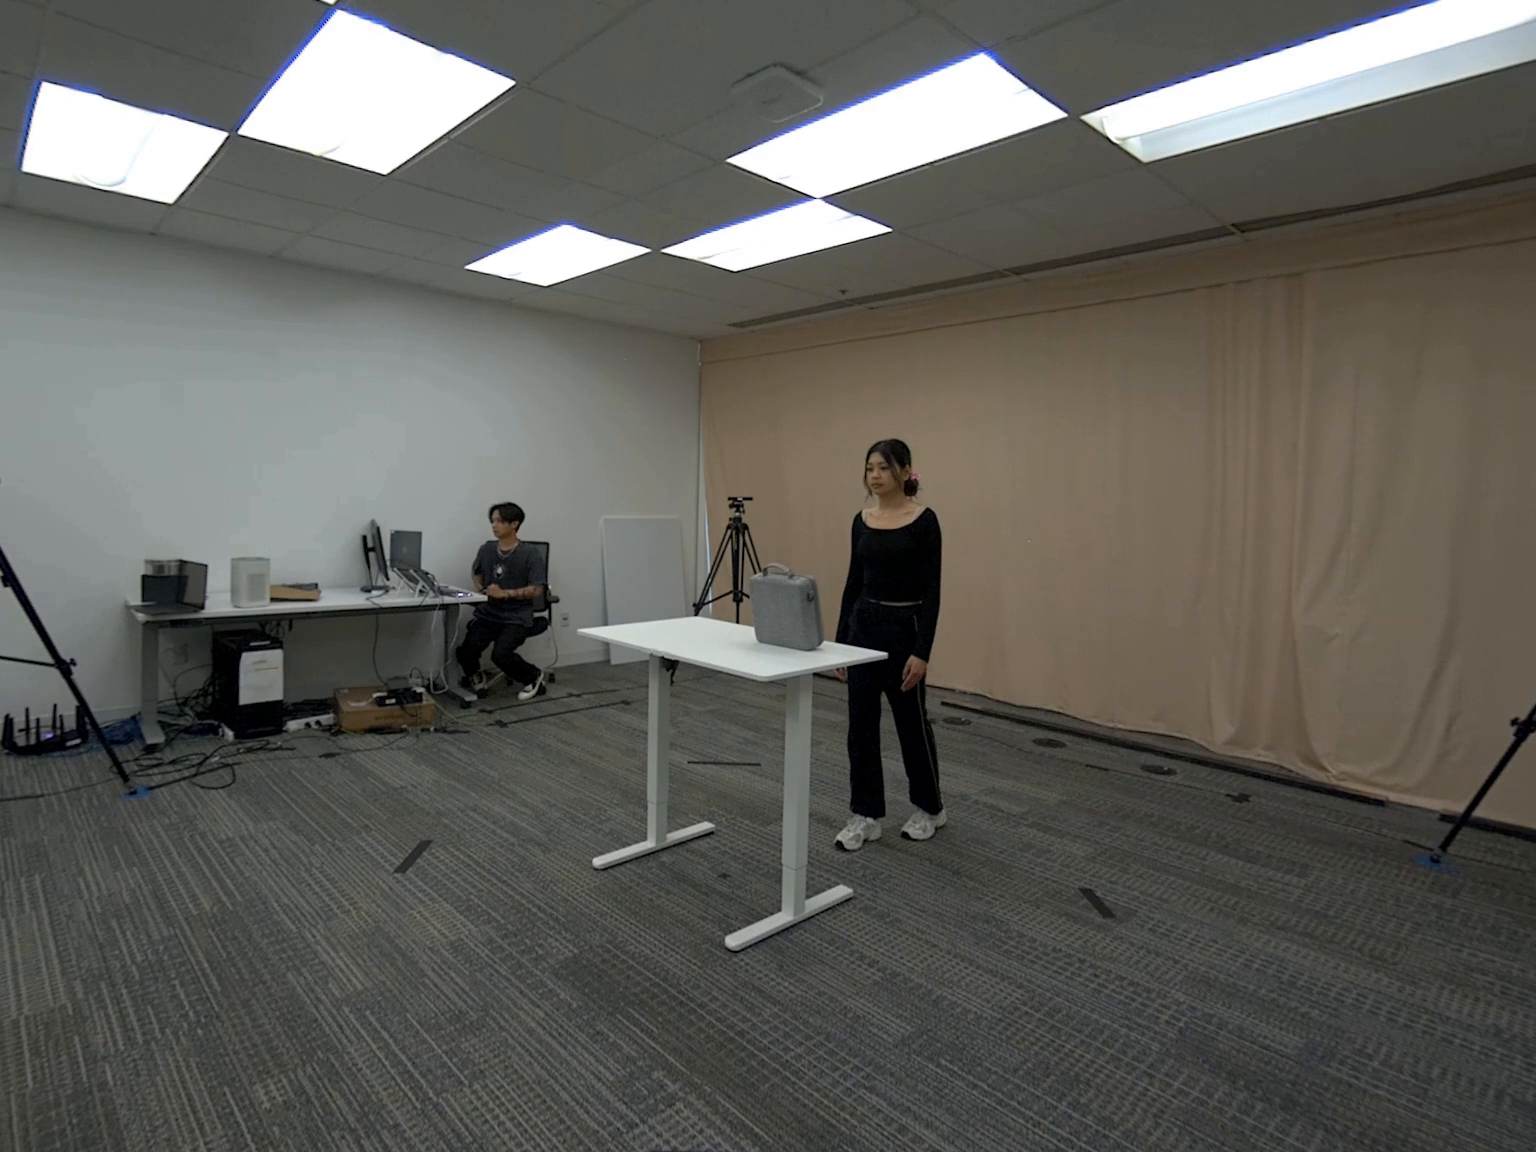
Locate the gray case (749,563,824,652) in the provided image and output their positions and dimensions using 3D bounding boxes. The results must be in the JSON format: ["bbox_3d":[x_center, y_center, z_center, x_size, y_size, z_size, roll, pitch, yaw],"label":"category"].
[{"bbox_3d":[0.056,0.117,2.918,0.263,0.258,0.103,5,17,44],"label":"gray case"}]
